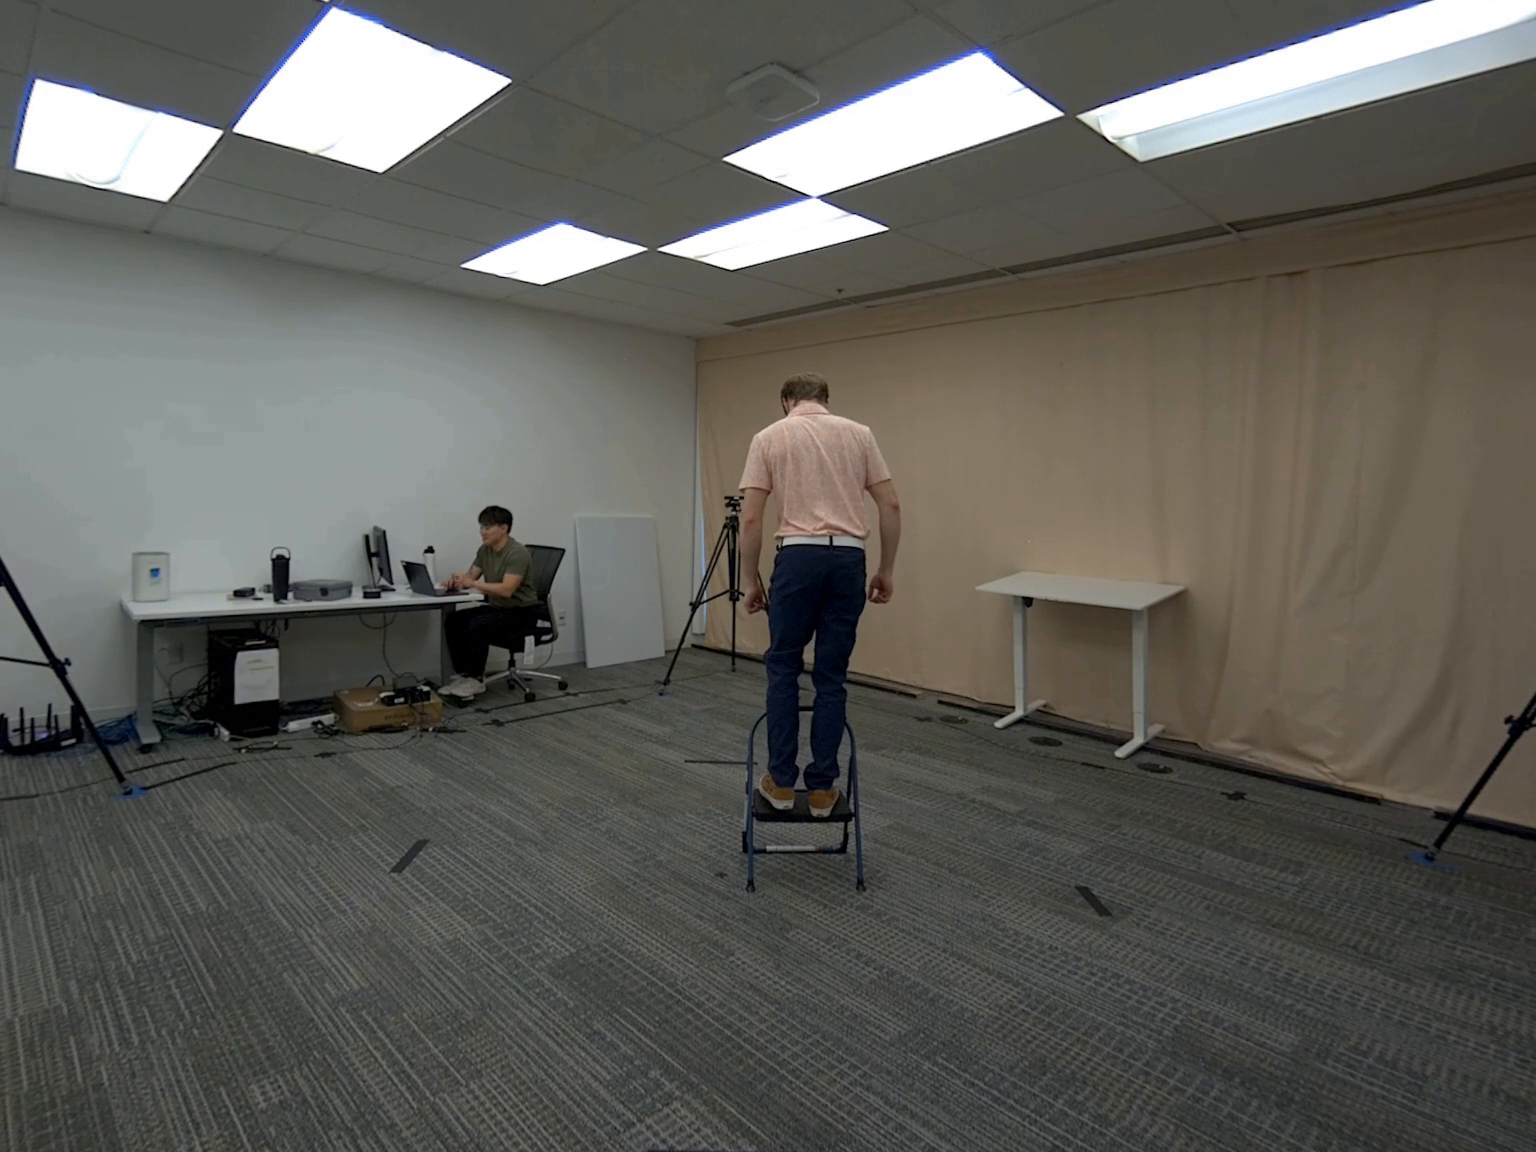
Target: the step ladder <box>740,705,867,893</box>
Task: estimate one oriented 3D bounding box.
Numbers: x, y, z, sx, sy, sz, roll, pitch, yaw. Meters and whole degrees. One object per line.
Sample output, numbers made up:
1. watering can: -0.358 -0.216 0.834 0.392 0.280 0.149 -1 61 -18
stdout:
1. step ladder: 0.122 0.808 3.148 0.429 0.604 0.352 1 4 -5
